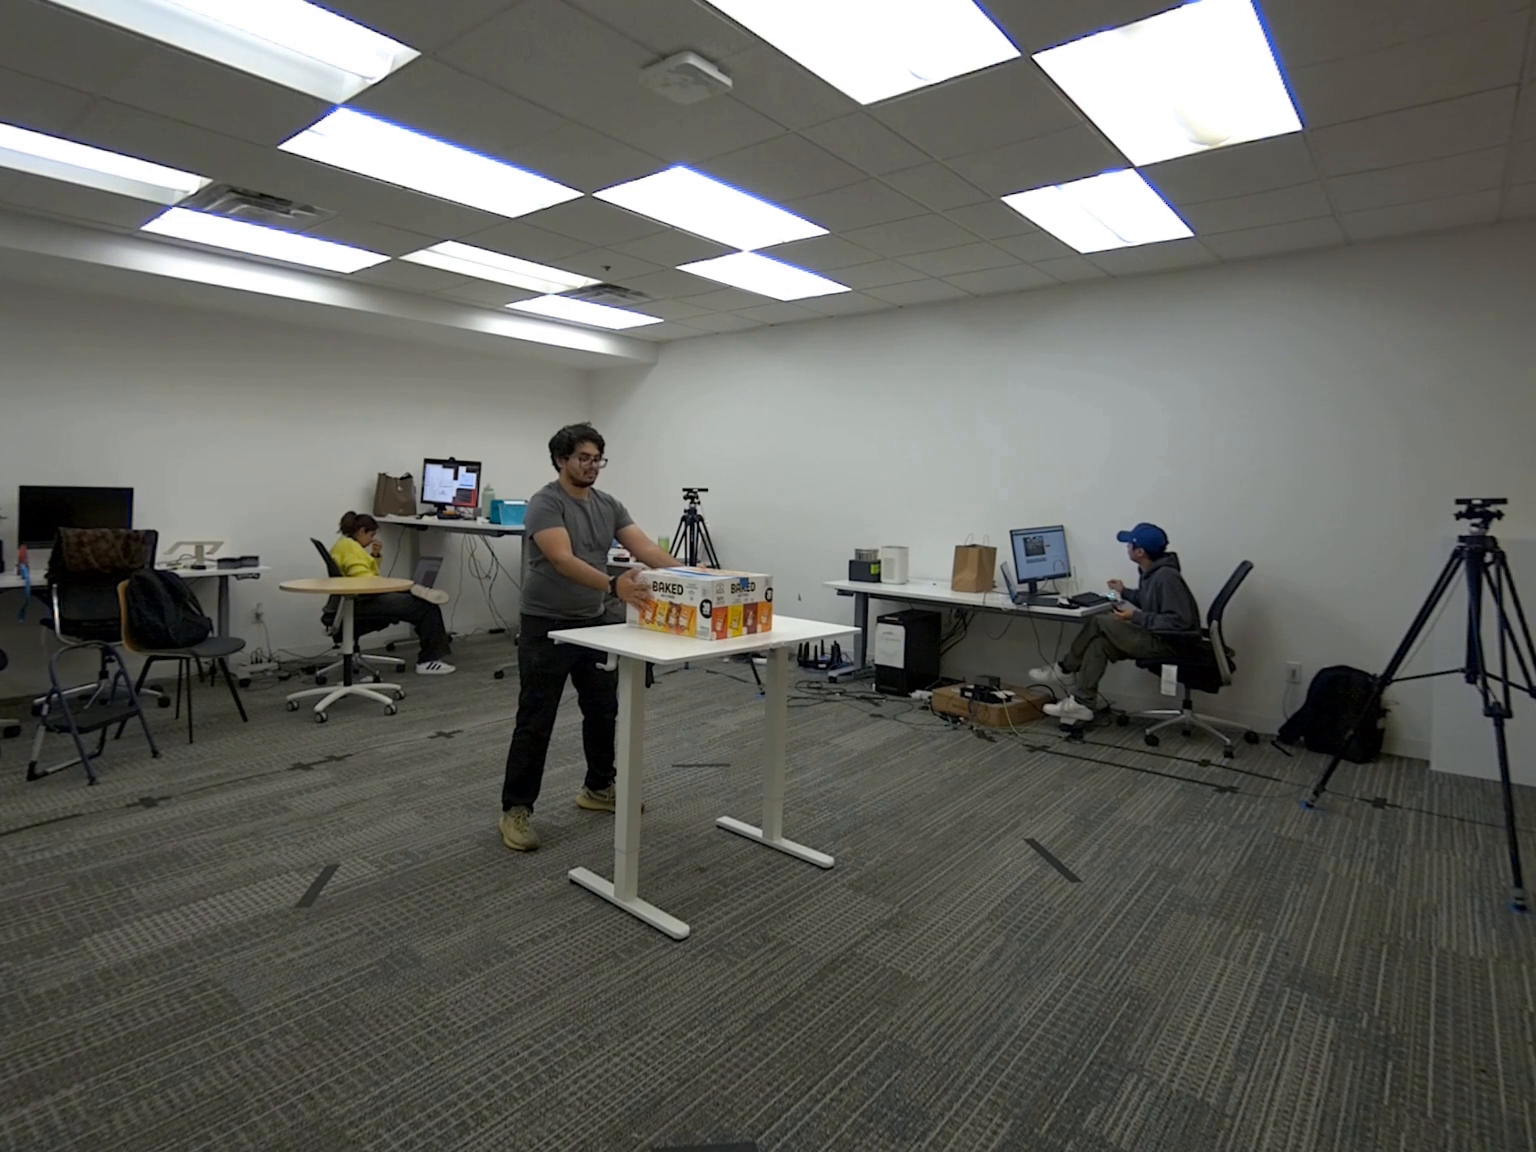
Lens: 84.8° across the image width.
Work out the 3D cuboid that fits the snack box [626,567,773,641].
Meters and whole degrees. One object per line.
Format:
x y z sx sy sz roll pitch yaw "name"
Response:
-0.258 0.087 3.078 0.419 0.205 0.330 5 5 38 "snack box"
